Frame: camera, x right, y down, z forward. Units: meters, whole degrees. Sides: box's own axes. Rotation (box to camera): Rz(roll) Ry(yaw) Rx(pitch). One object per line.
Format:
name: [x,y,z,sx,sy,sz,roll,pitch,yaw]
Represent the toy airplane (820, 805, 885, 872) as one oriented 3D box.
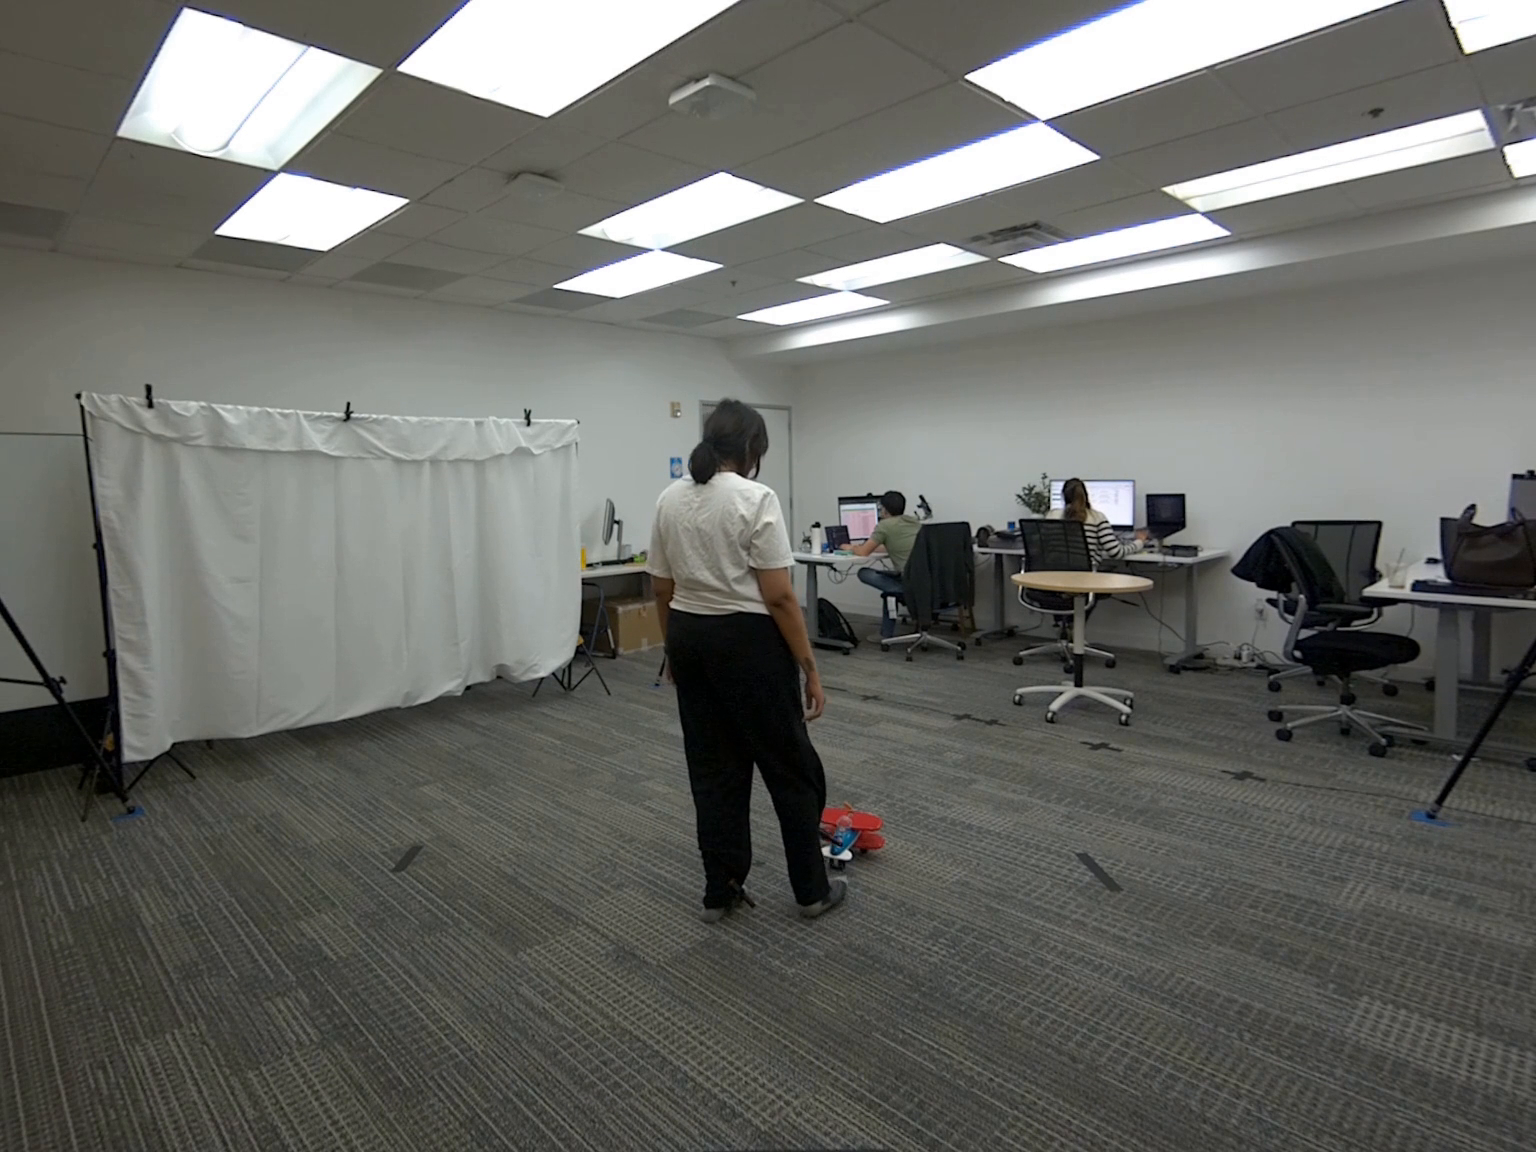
toy airplane: [0.307,0.963,3.131,0.251,0.156,0.260,-1,5,-1]
